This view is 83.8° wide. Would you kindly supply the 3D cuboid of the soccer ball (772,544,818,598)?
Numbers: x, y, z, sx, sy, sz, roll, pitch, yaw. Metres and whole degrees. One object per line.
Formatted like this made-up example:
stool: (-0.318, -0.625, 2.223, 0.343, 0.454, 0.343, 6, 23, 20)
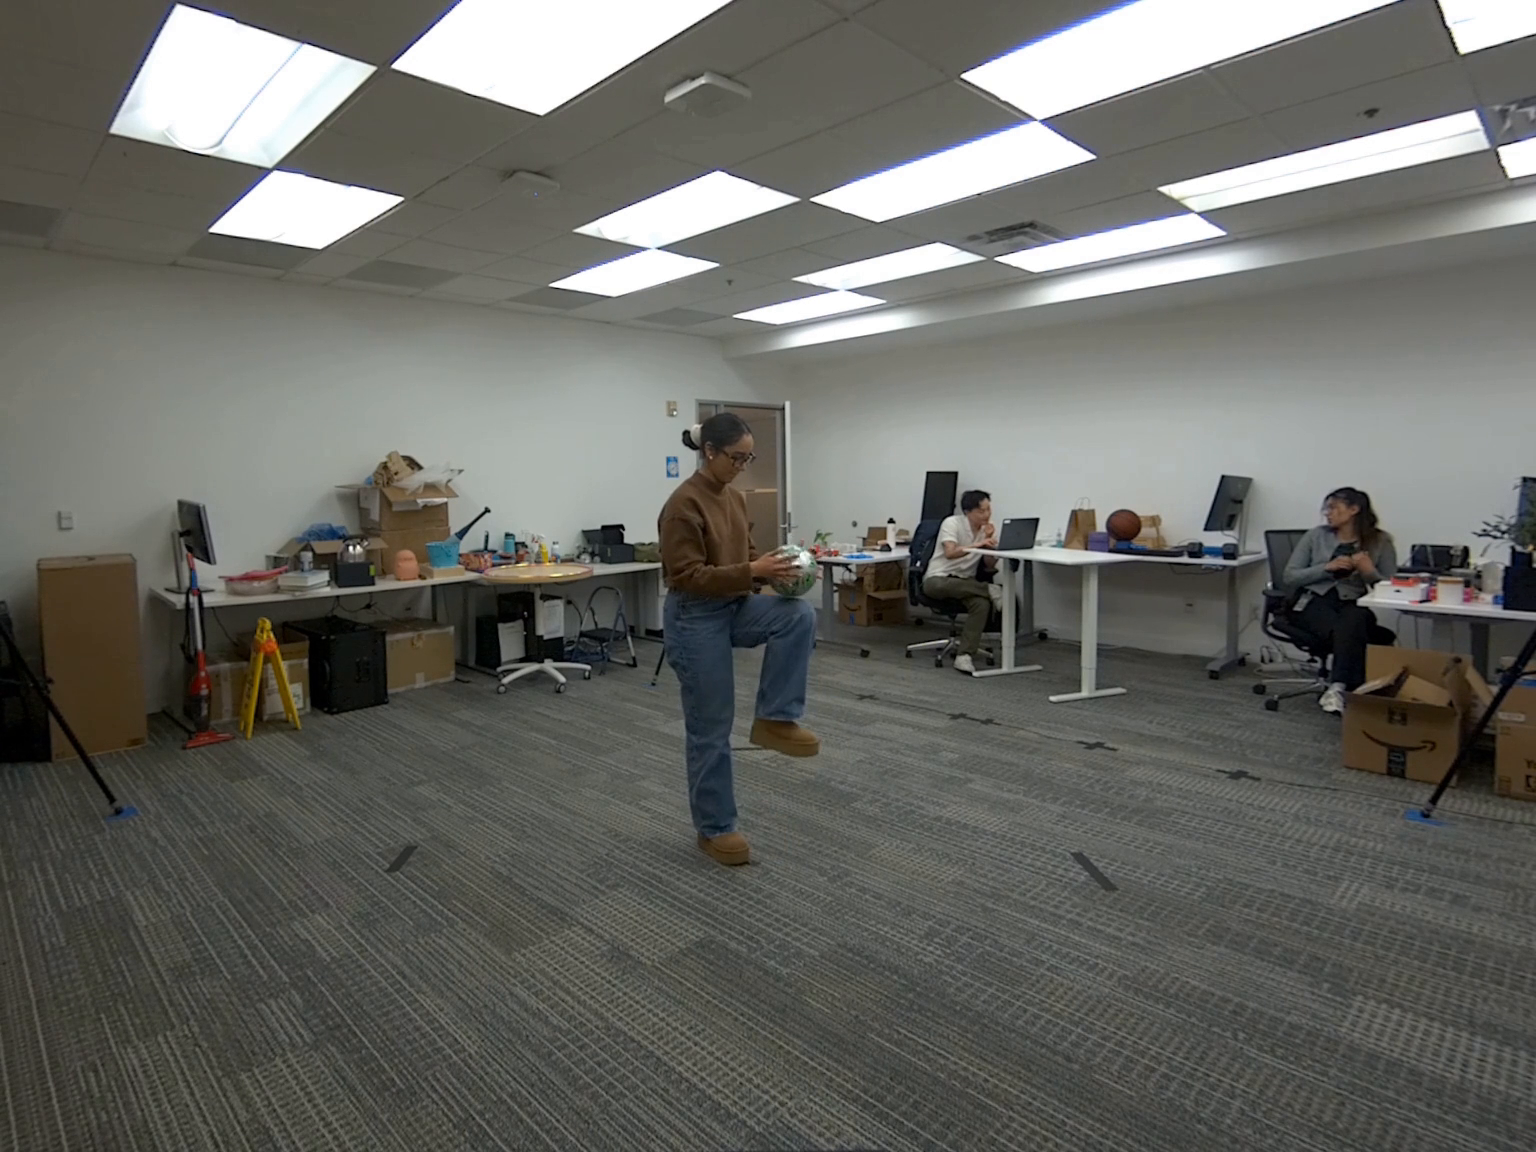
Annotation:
soccer ball: (0.083, -0.040, 3.046, 0.187, 0.187, 0.188, -1, 5, -2)
